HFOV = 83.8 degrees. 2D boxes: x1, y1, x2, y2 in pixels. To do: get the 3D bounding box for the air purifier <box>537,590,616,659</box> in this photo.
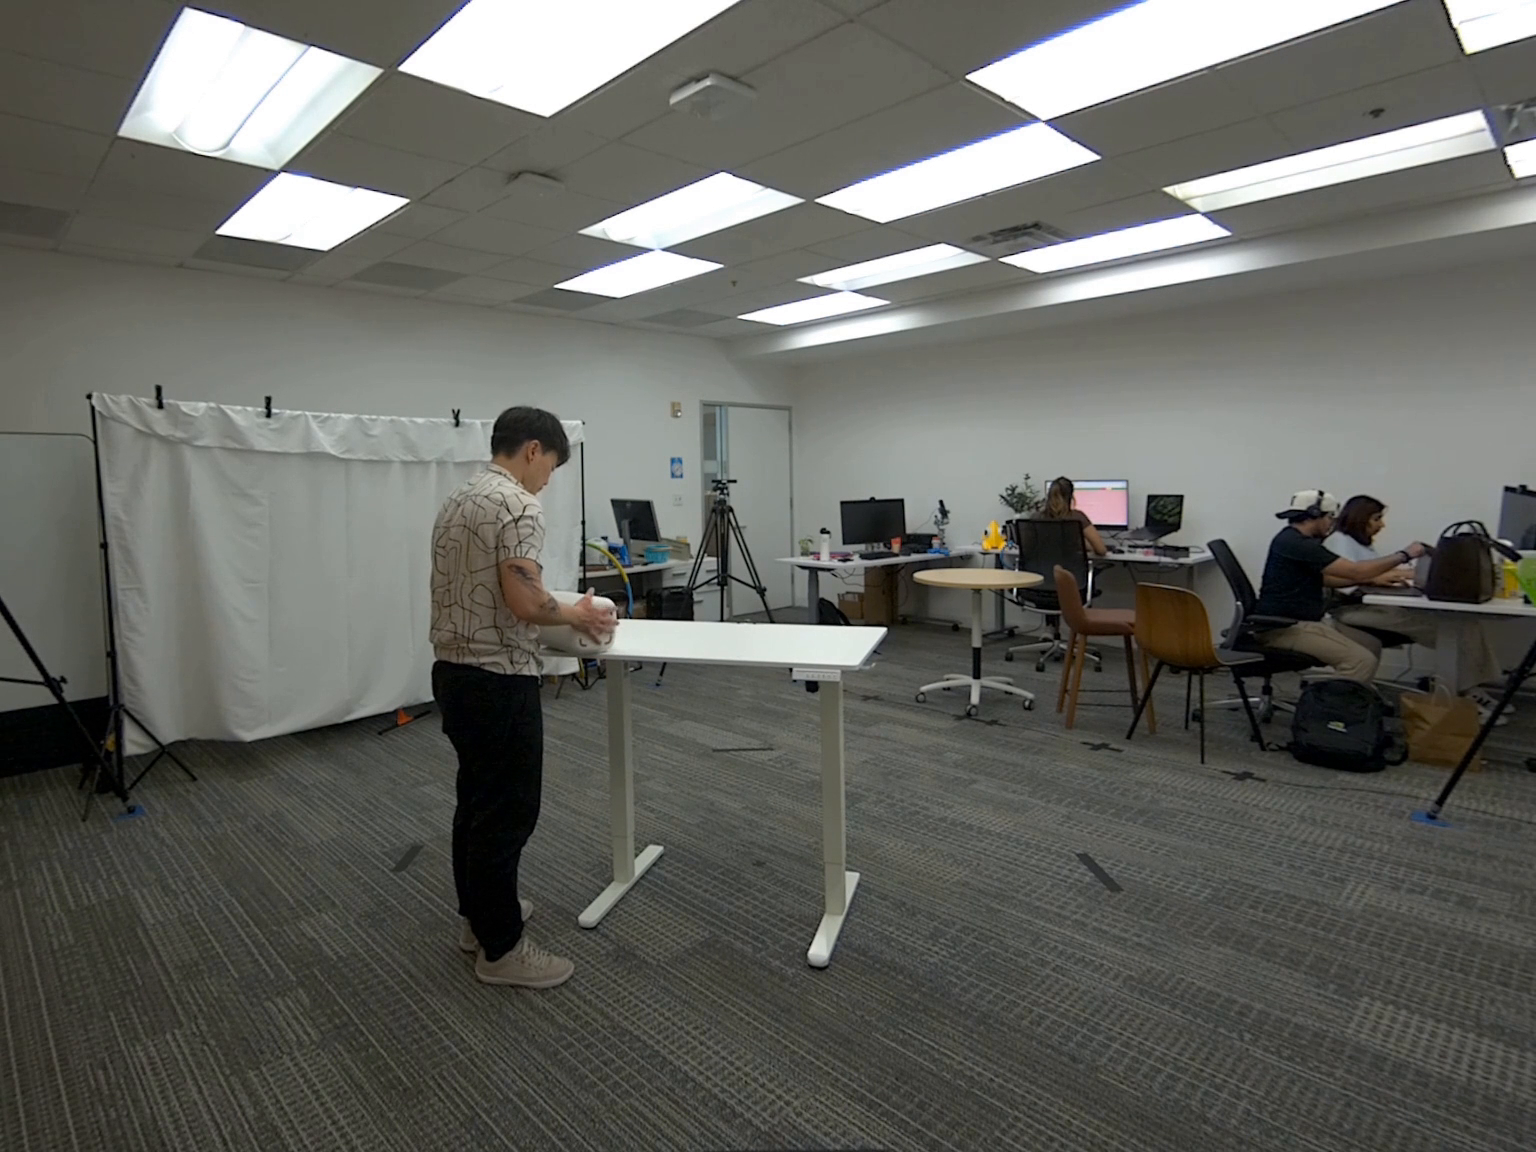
[{"bbox_3d":[-0.604,0.142,2.671,0.167,0.171,0.273,-2,4,-43],"label":"air purifier"}]
